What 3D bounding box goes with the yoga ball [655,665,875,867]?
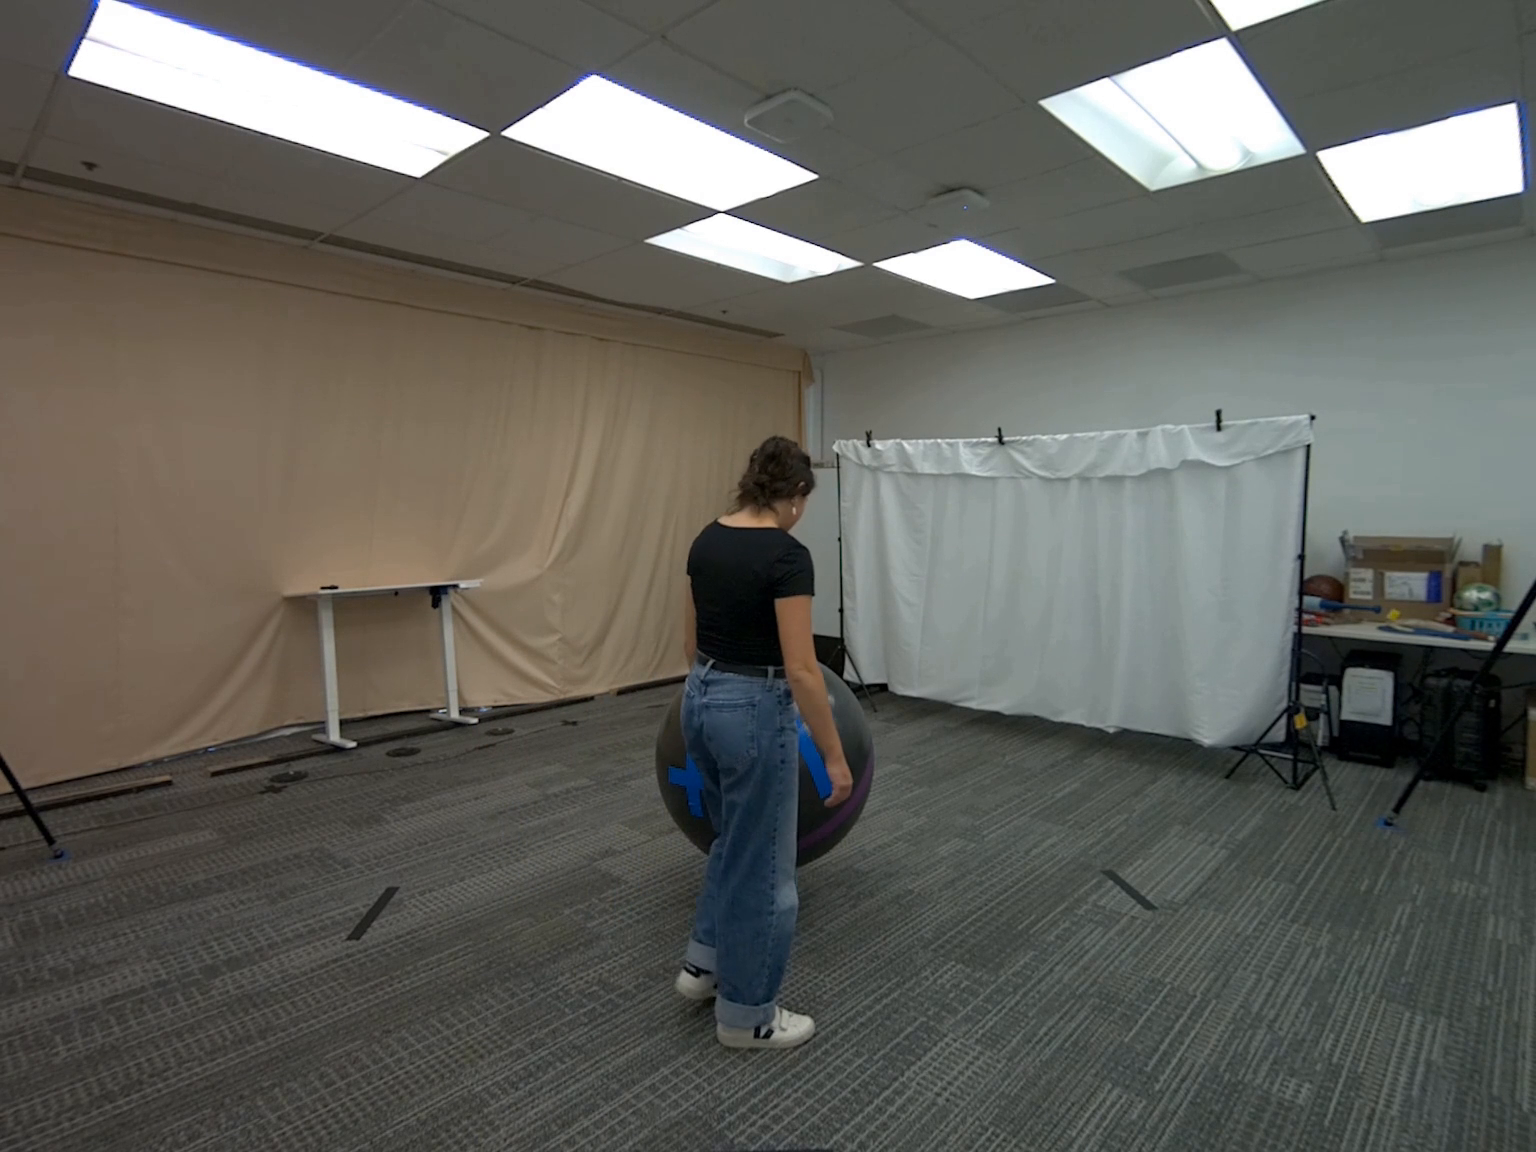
[{"bbox_3d":[-0.011,0.632,2.955,0.757,0.756,0.760,0,4,-2],"label":"yoga ball"}]
